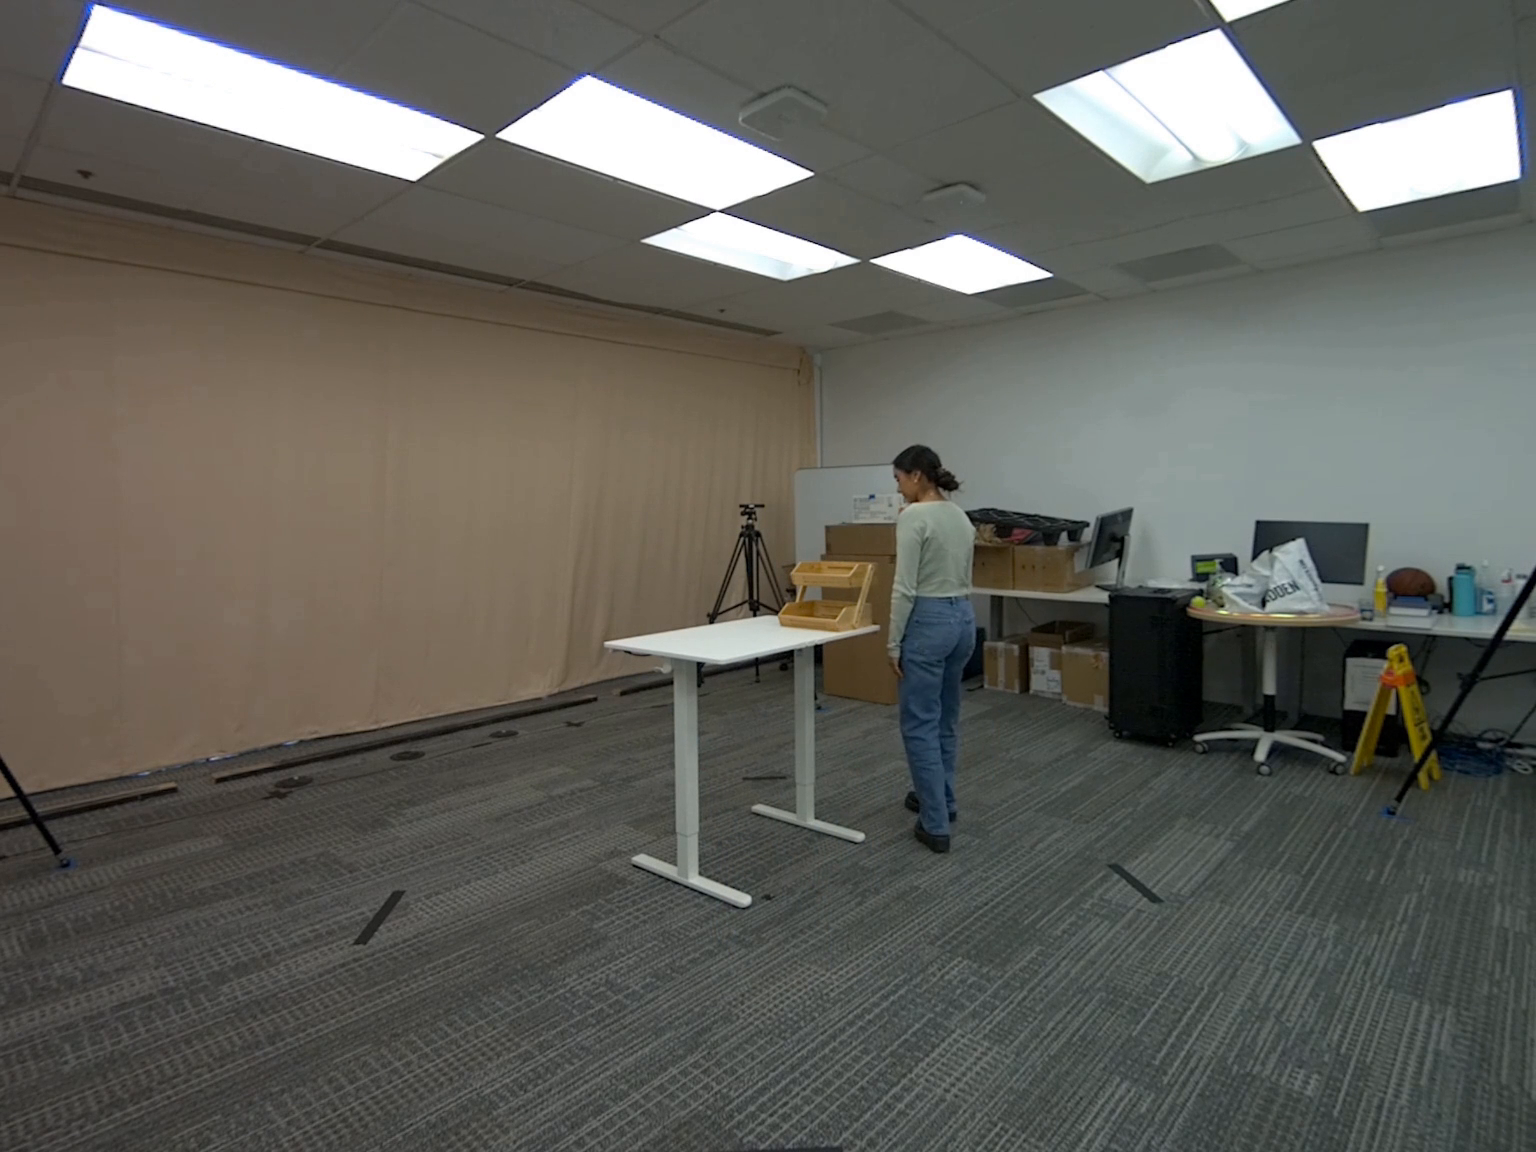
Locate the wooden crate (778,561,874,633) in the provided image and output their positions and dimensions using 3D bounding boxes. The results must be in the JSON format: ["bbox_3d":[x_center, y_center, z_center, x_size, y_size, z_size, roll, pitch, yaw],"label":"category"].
[{"bbox_3d":[0.253,0.076,3.532,0.335,0.273,0.293,2,4,41],"label":"wooden crate"}]
